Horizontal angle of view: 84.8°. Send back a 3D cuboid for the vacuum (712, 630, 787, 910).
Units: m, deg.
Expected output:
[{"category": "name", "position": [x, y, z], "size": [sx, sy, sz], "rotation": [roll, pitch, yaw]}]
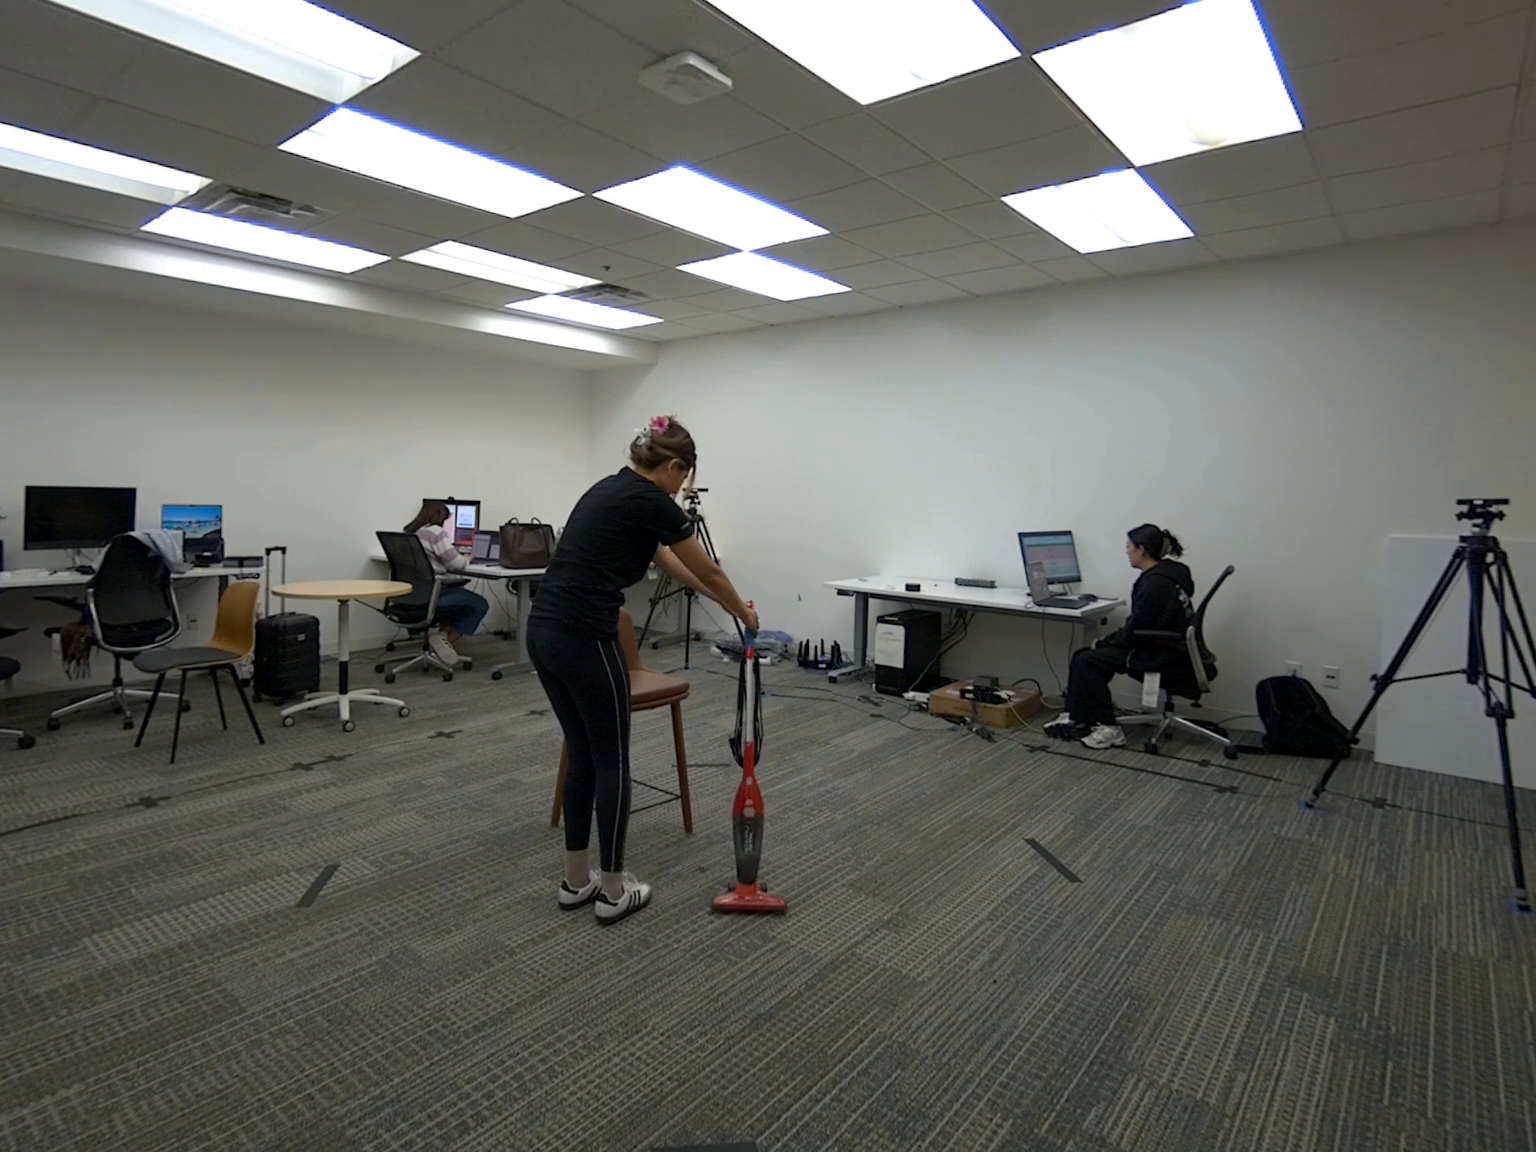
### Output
[{"category": "vacuum", "position": [-0.079, 0.602, 3.043], "size": [0.253, 1.071, 0.140], "rotation": [-2, -23, 3]}]
